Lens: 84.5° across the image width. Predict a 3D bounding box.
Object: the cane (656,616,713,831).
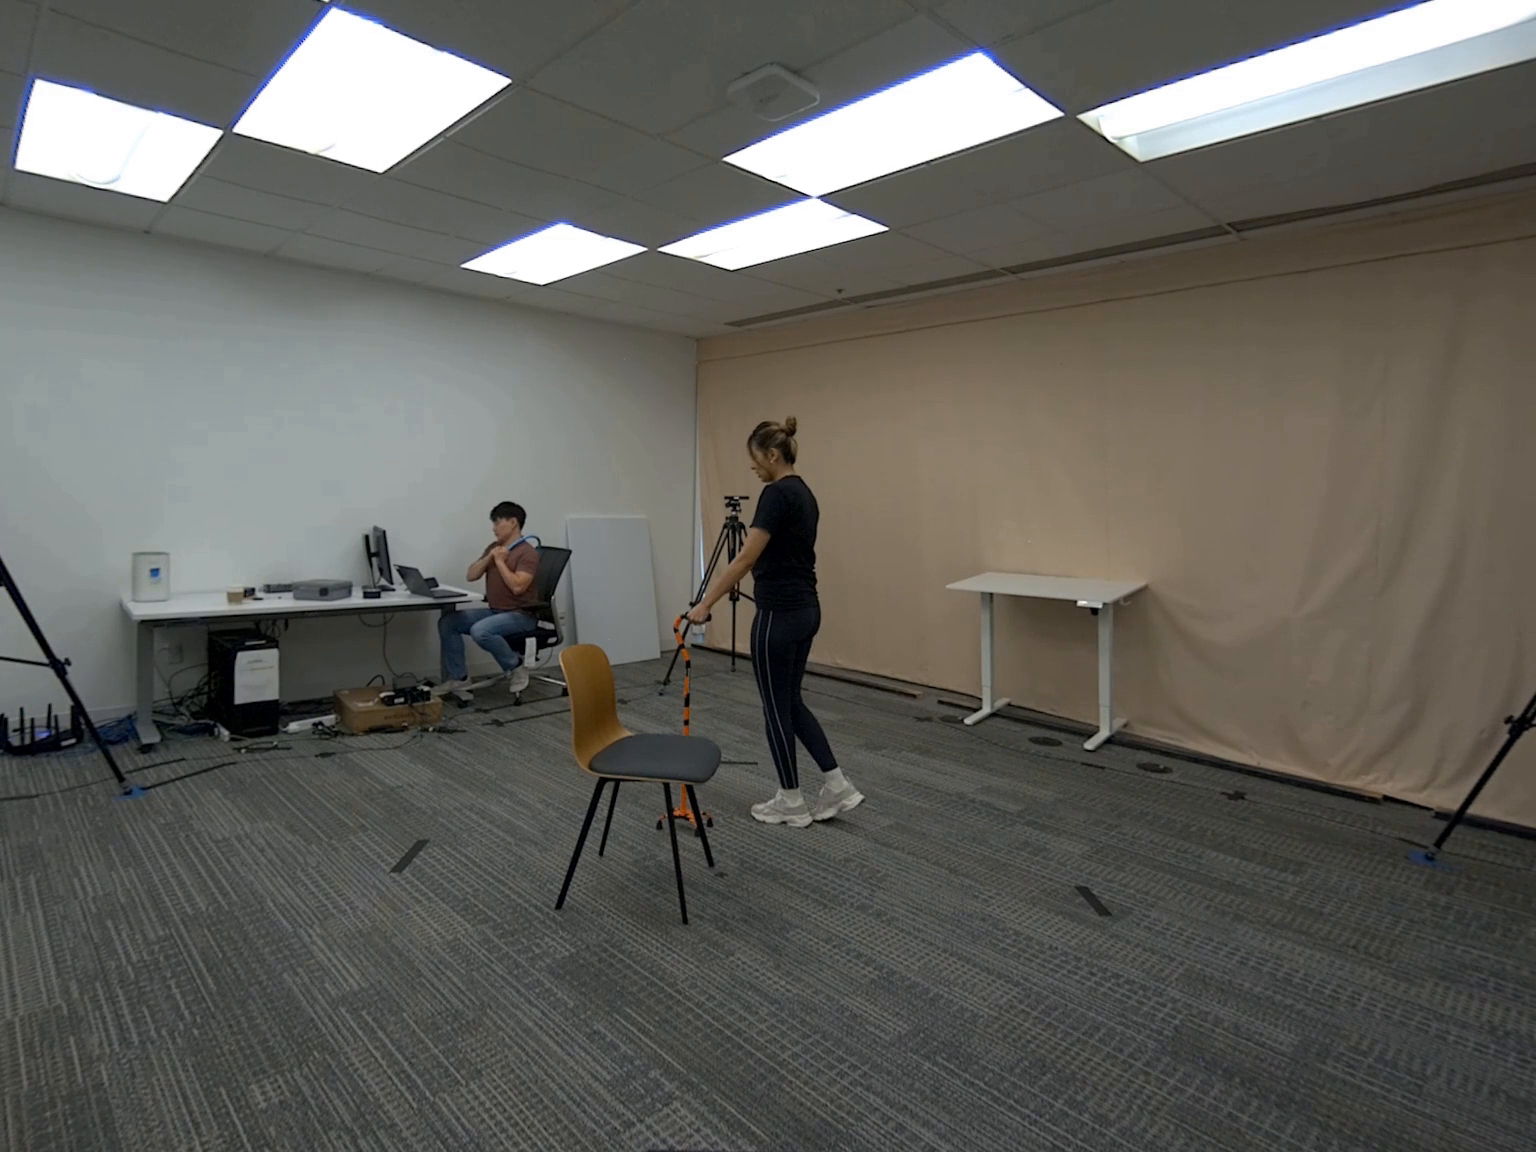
[{"bbox_3d":[-0.343,0.606,3.532,0.210,0.906,0.149,2,2,21],"label":"cane"}]
